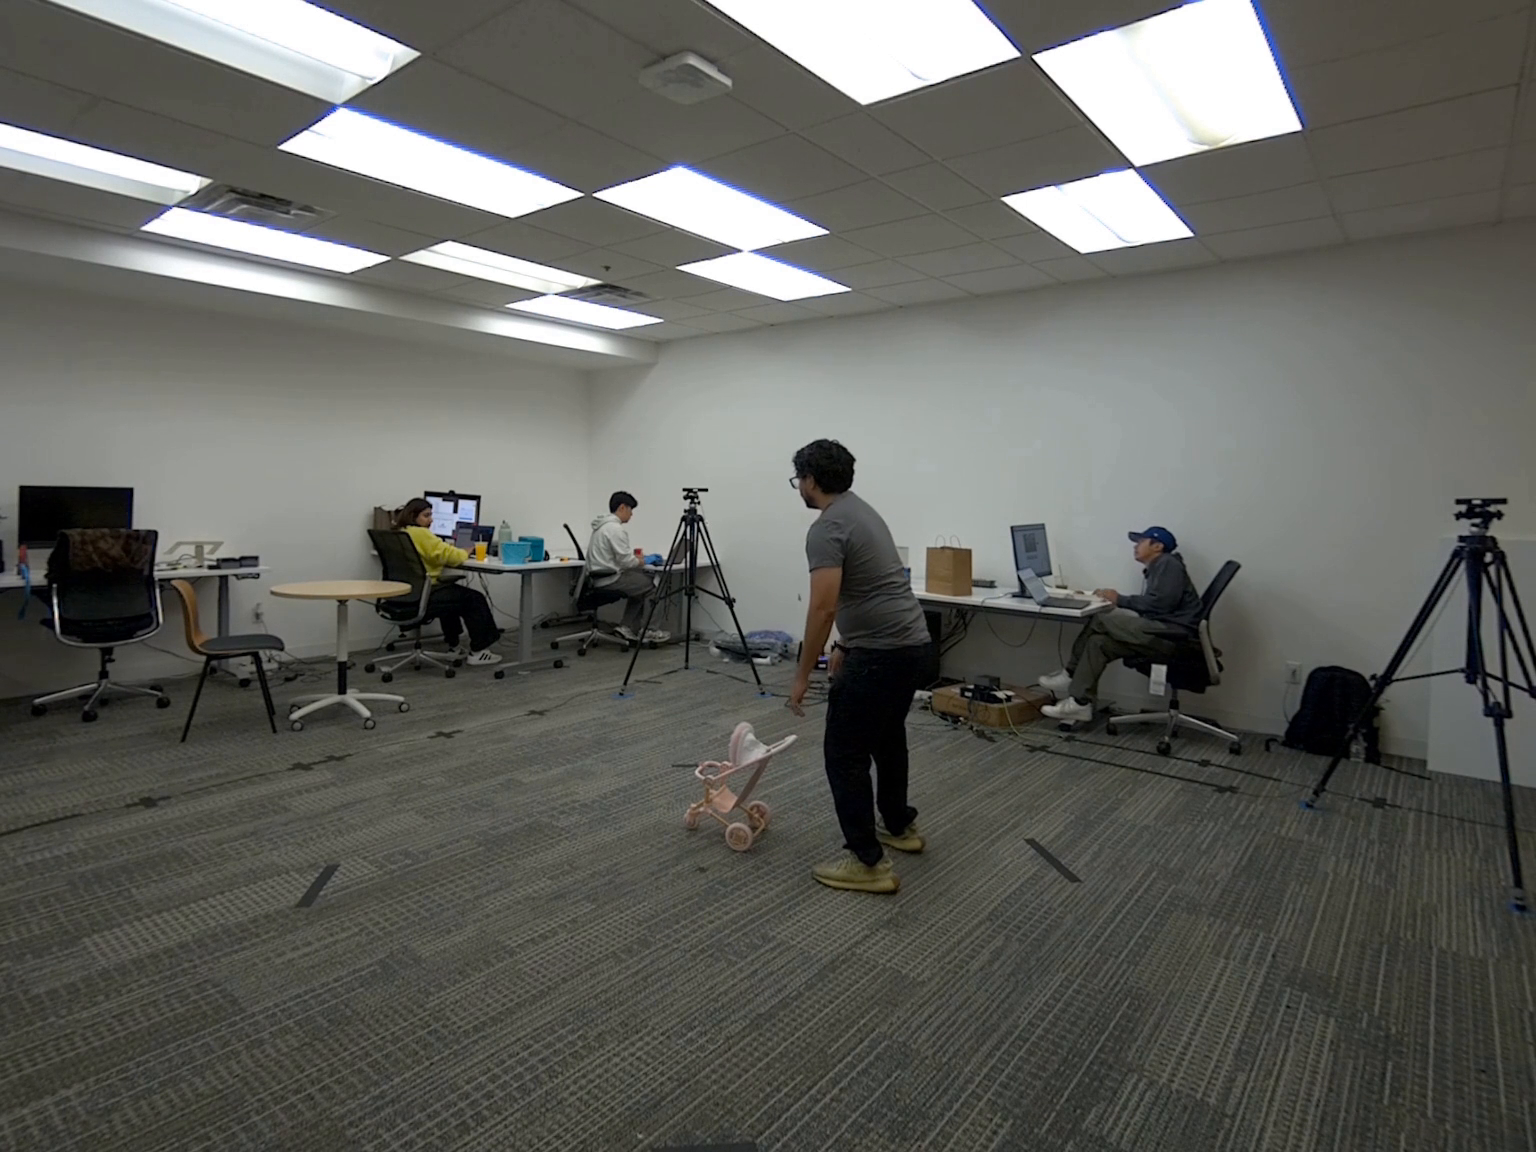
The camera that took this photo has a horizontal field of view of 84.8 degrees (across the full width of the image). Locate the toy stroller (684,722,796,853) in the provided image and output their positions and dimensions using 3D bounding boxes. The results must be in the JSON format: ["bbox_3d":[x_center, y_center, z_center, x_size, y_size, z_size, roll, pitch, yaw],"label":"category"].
[{"bbox_3d":[-0.137,0.824,3.410,0.351,0.532,0.275,21,11,22],"label":"toy stroller"}]
